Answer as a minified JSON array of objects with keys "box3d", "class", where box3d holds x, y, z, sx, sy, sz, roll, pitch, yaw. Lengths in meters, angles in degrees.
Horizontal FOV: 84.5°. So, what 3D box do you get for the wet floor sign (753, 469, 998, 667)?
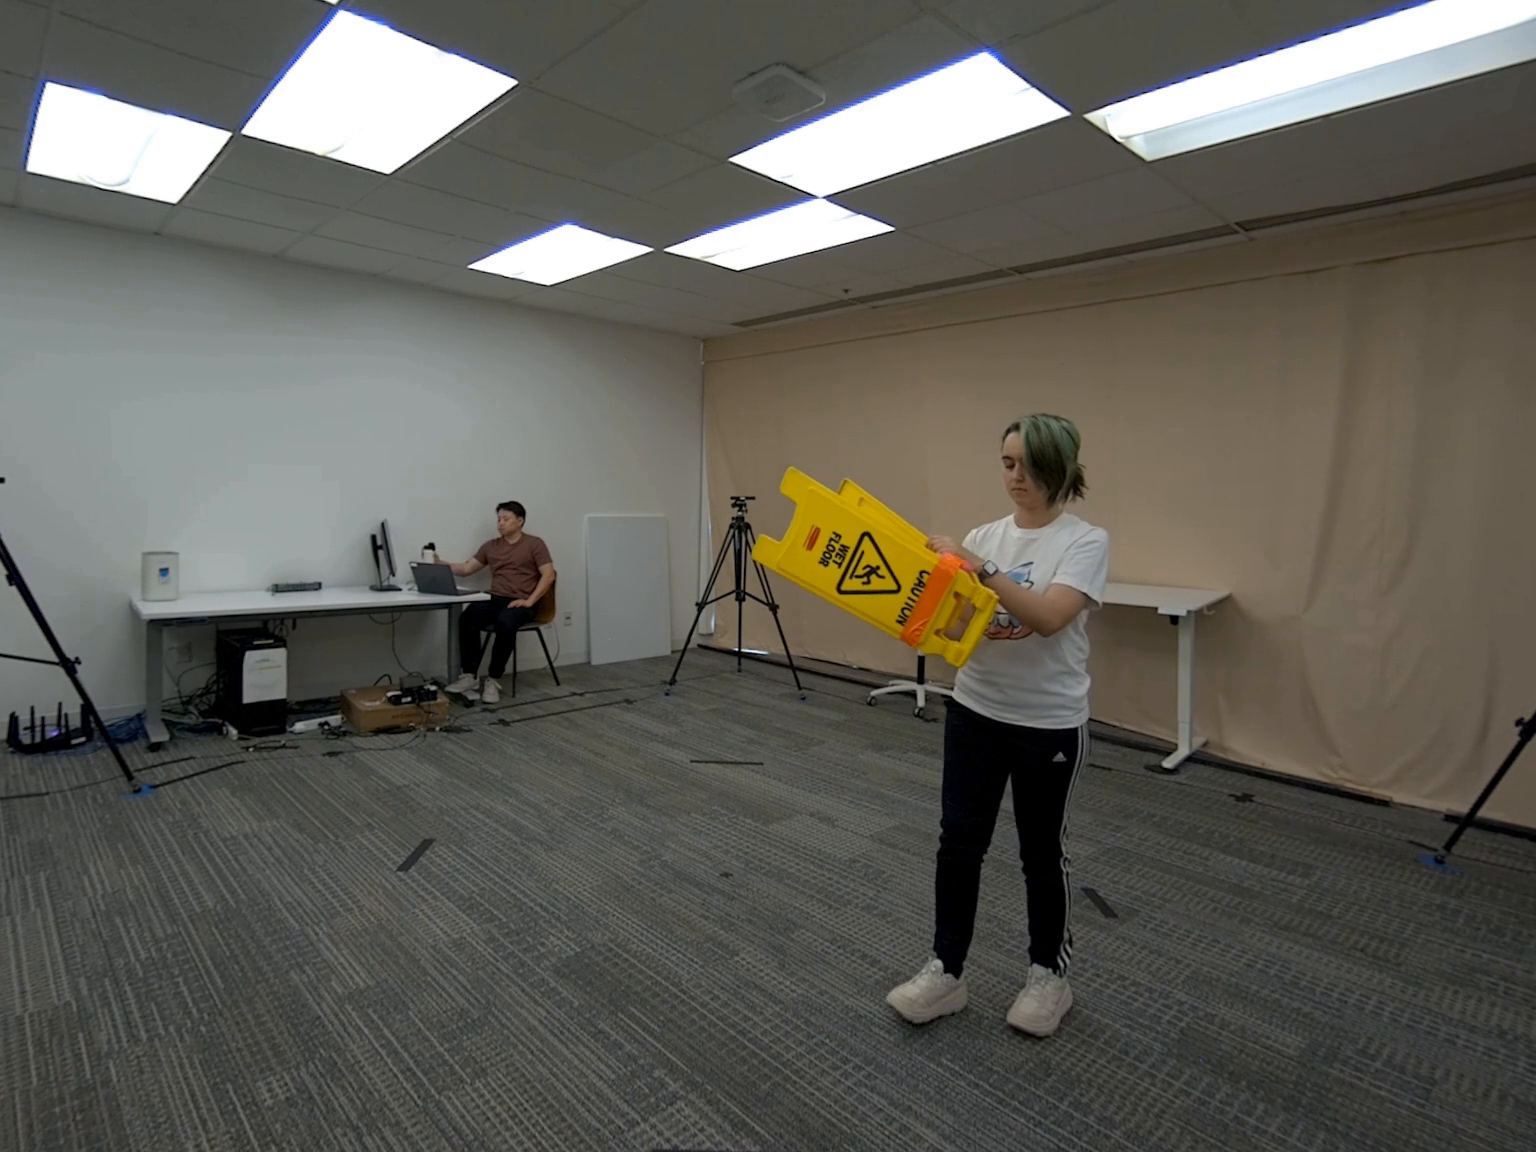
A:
[{"box3d":[0.282,-0.010,2.173,0.282,0.281,0.667,8,22,-45],"class":"wet floor sign"}]
